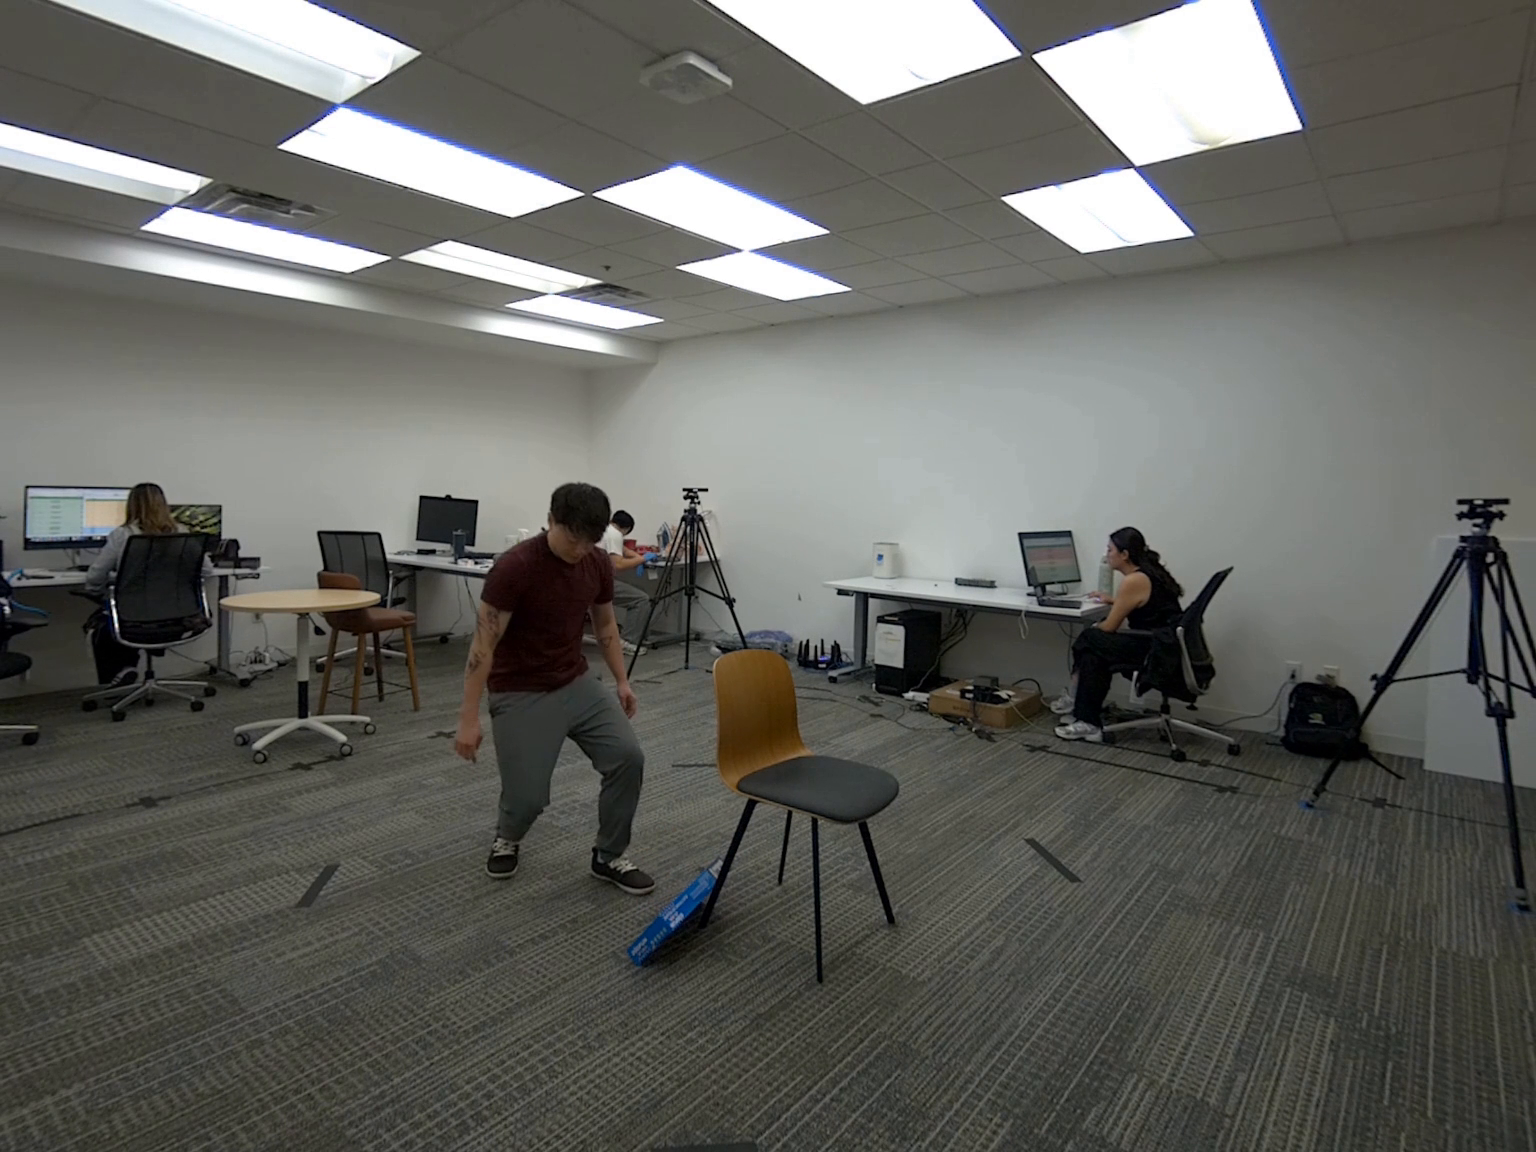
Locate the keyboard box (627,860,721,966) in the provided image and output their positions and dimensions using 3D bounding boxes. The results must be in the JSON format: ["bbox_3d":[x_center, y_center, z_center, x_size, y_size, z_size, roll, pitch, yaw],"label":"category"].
[{"bbox_3d":[-0.278,1.032,2.646,0.060,0.175,0.429,42,17,12],"label":"keyboard box"}]
